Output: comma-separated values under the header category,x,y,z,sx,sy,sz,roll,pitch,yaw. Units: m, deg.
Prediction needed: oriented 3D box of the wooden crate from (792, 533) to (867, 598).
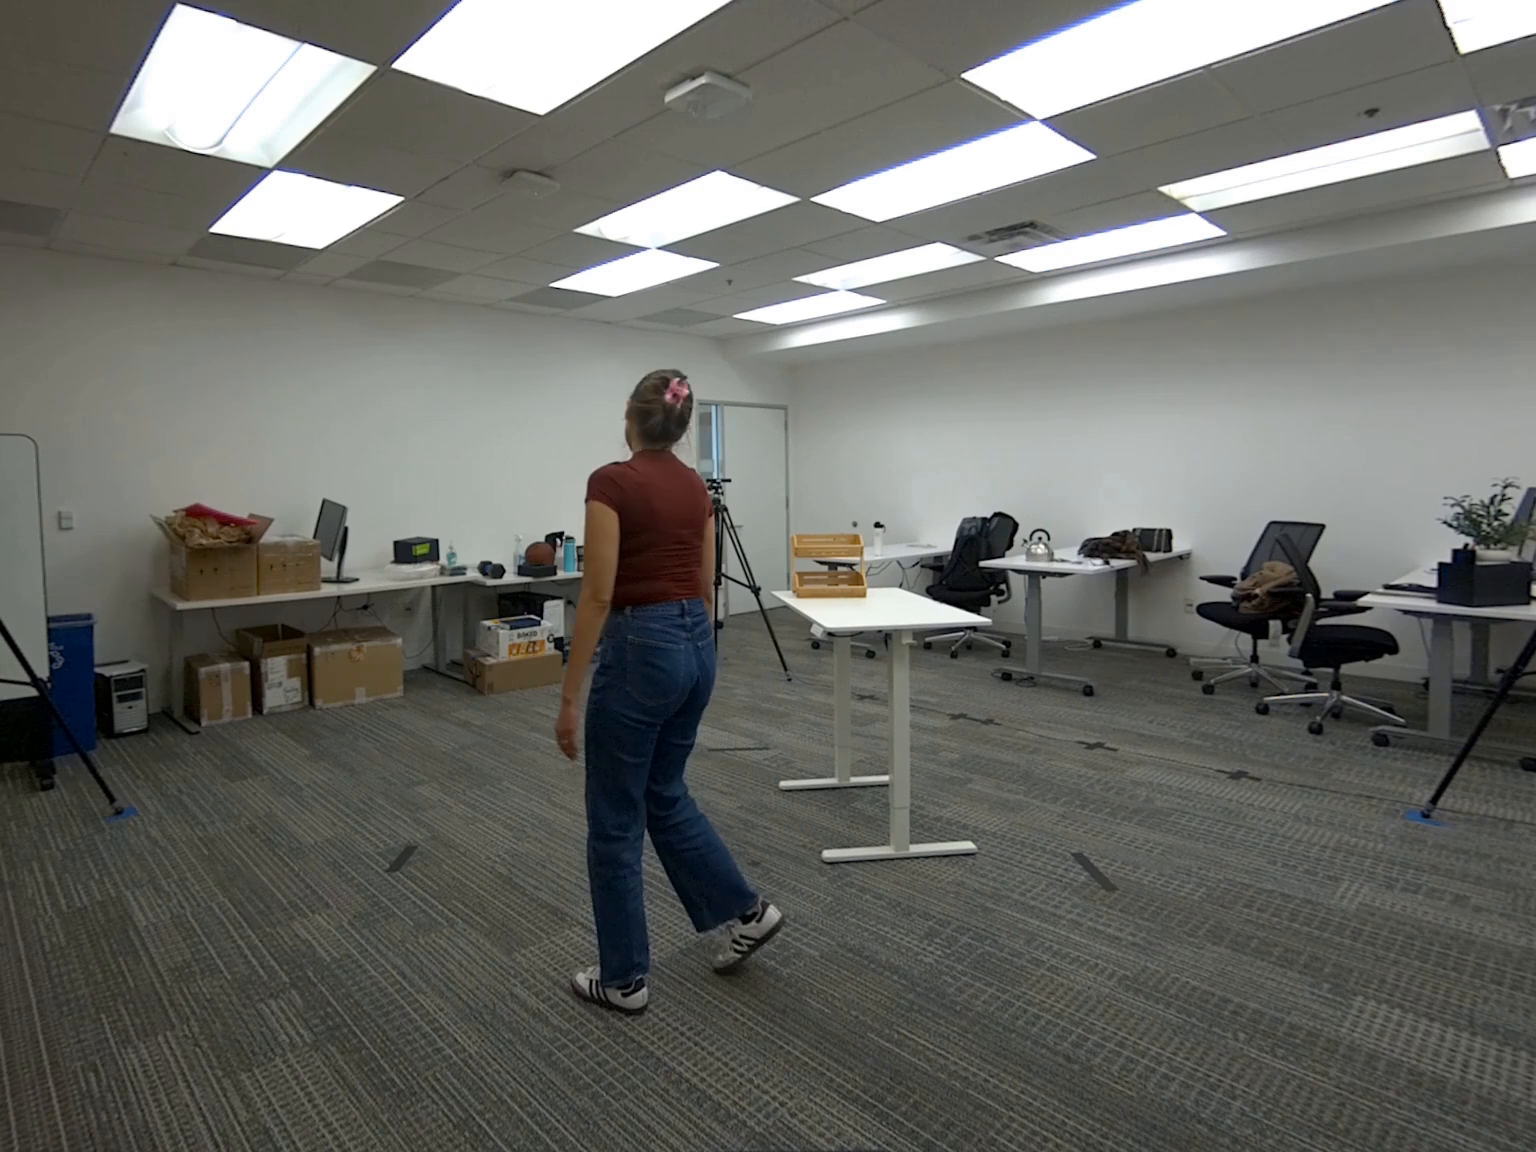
category,x,y,z,sx,sy,sz,roll,pitch,yaw
wooden crate,0.271,-0.052,3.800,0.324,0.272,0.303,0,5,-1
